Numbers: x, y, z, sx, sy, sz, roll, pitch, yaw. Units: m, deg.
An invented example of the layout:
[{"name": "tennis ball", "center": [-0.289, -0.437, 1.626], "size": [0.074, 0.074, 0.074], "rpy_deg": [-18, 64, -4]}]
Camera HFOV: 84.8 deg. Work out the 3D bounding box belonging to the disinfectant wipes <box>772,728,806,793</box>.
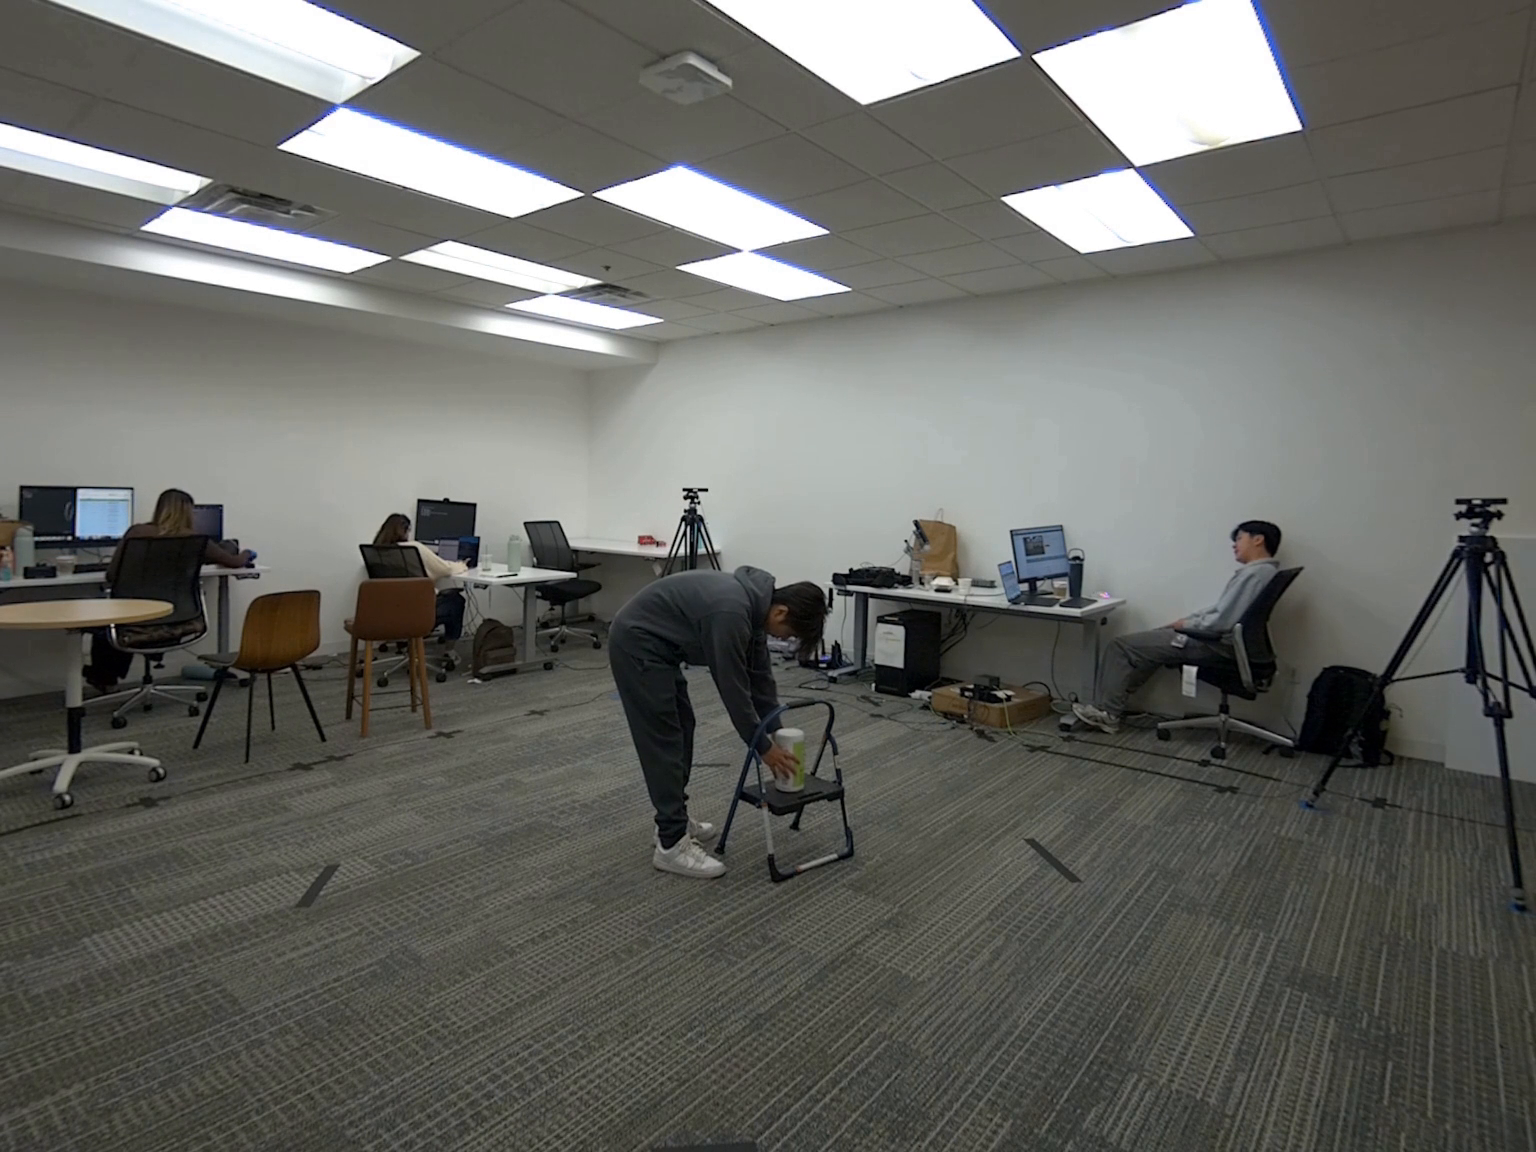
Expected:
[{"name": "disinfectant wipes", "center": [0.072, 0.698, 3.230], "size": [0.118, 0.217, 0.118], "rpy_deg": [0, 1, -2]}]
